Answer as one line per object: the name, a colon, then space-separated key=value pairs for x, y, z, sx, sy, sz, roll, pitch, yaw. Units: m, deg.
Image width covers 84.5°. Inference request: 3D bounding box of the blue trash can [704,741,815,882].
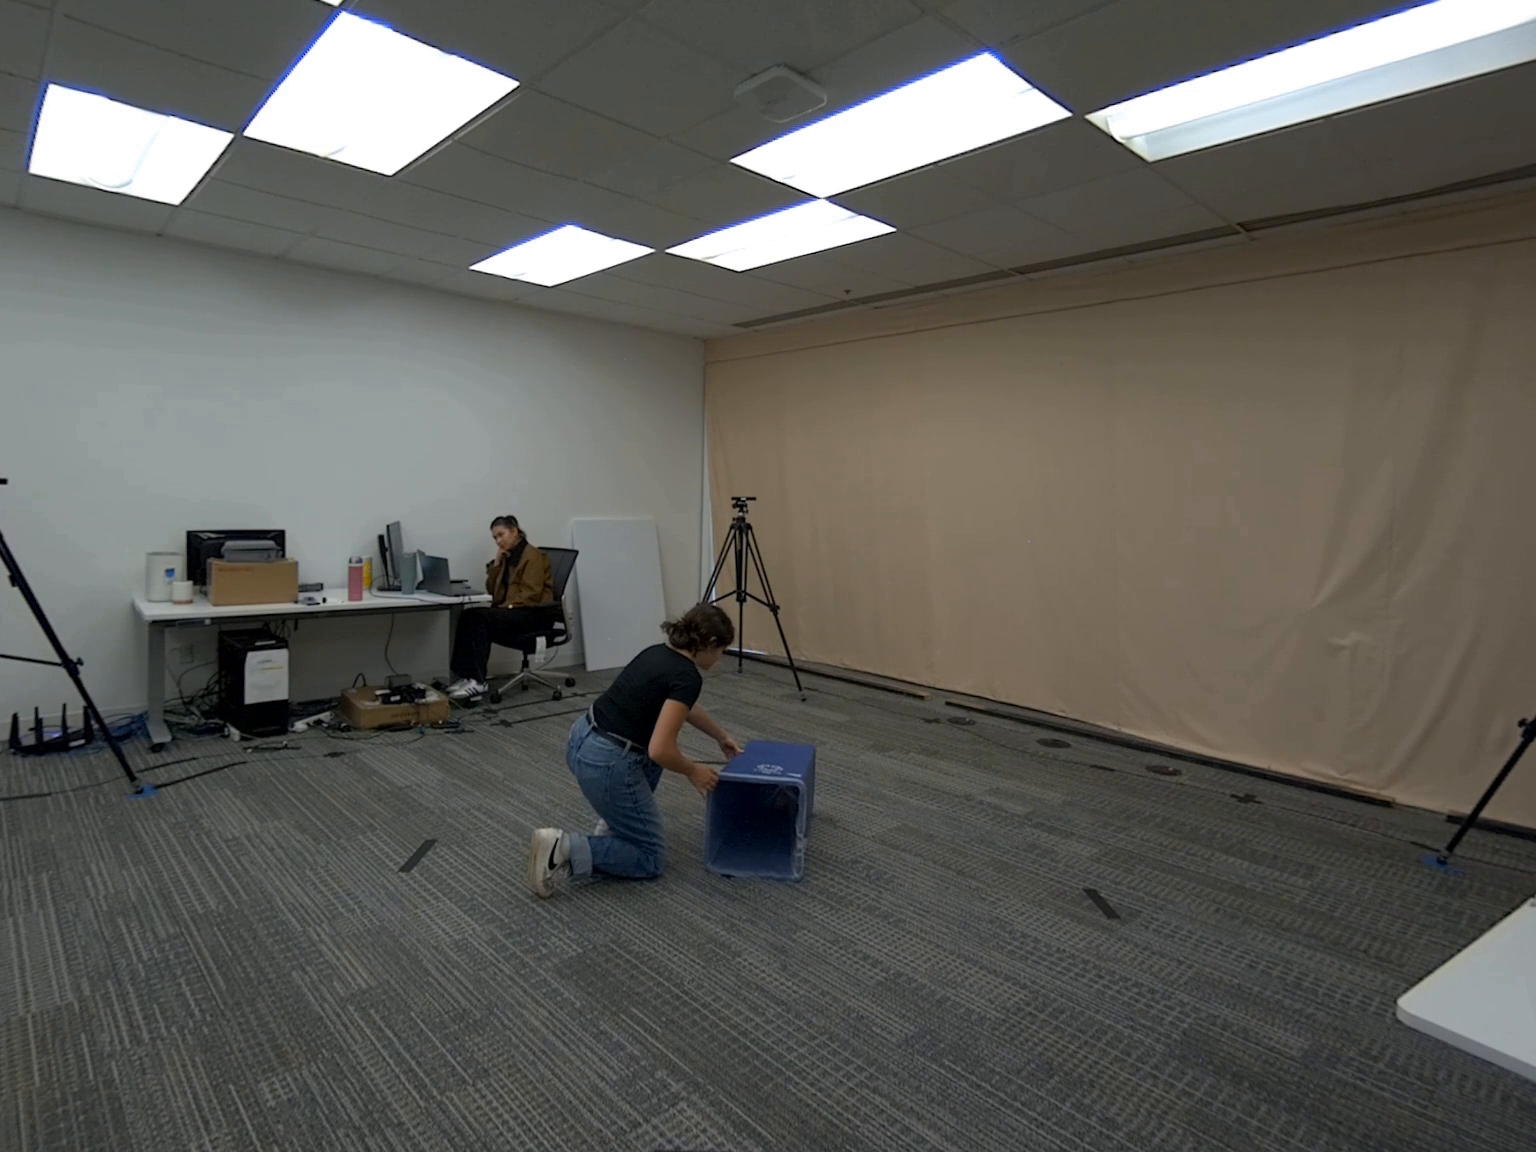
blue trash can: x=-0.010 y=0.913 z=3.440 sx=0.377 sy=0.378 sz=0.708 roll=2 pitch=2 yaw=9
